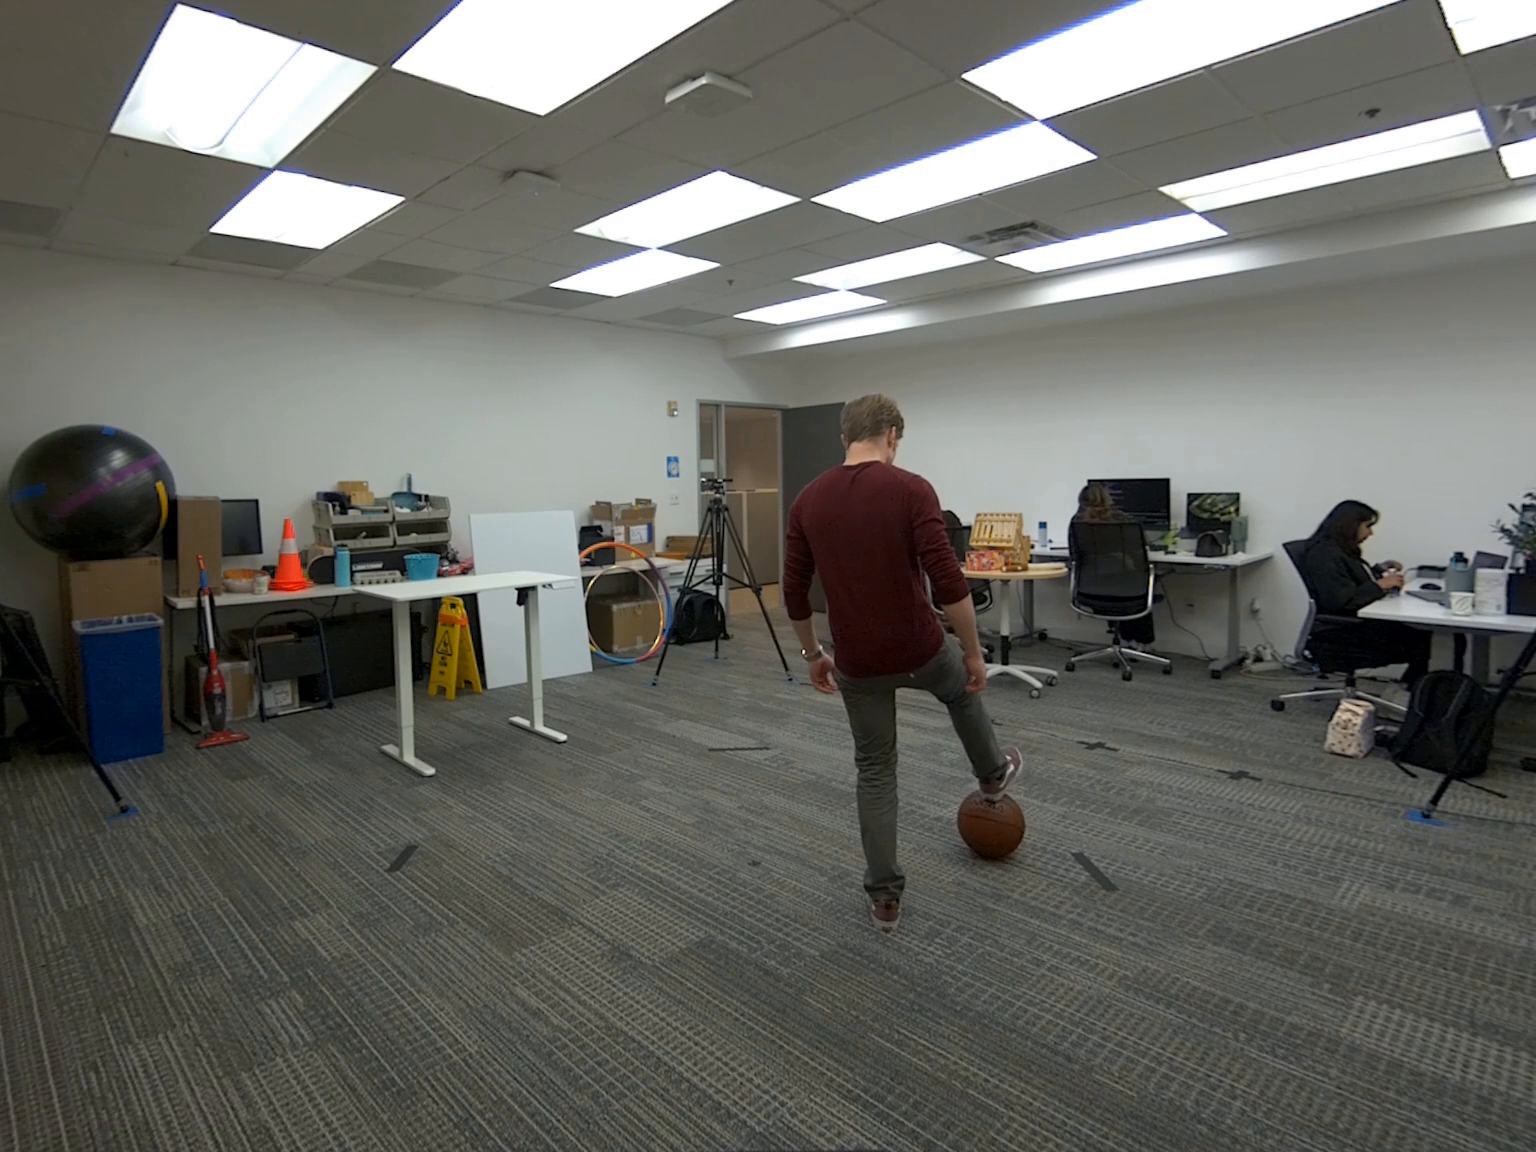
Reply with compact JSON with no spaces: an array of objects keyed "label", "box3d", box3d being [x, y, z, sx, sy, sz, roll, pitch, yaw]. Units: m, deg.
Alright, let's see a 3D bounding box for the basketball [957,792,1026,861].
[{"label":"basketball","box3d":[0.823,0.909,3.142,0.236,0.235,0.237,-1,5,-2]}]
